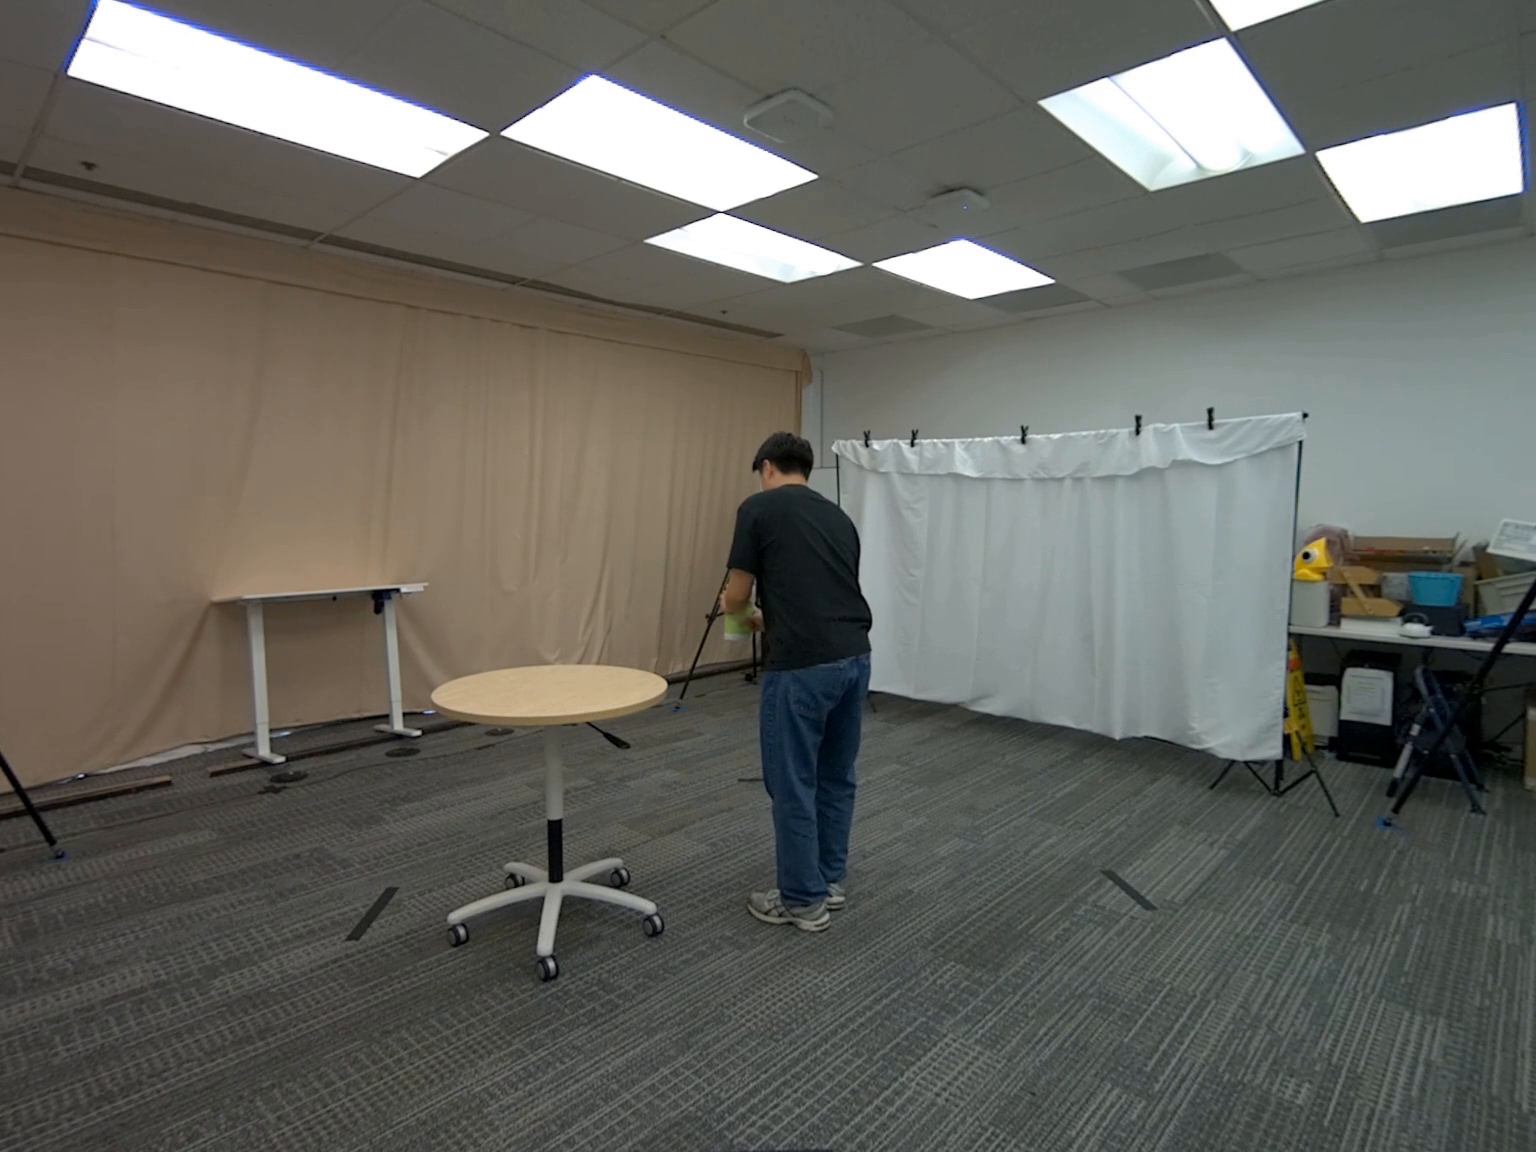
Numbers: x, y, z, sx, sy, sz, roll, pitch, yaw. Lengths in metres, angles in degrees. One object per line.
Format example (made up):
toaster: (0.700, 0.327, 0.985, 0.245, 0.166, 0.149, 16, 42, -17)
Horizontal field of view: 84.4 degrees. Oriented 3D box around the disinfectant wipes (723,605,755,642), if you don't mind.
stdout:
disinfectant wipes: (-0.106, 0.136, 3.244, 0.118, 0.218, 0.118, 2, -2, -2)
